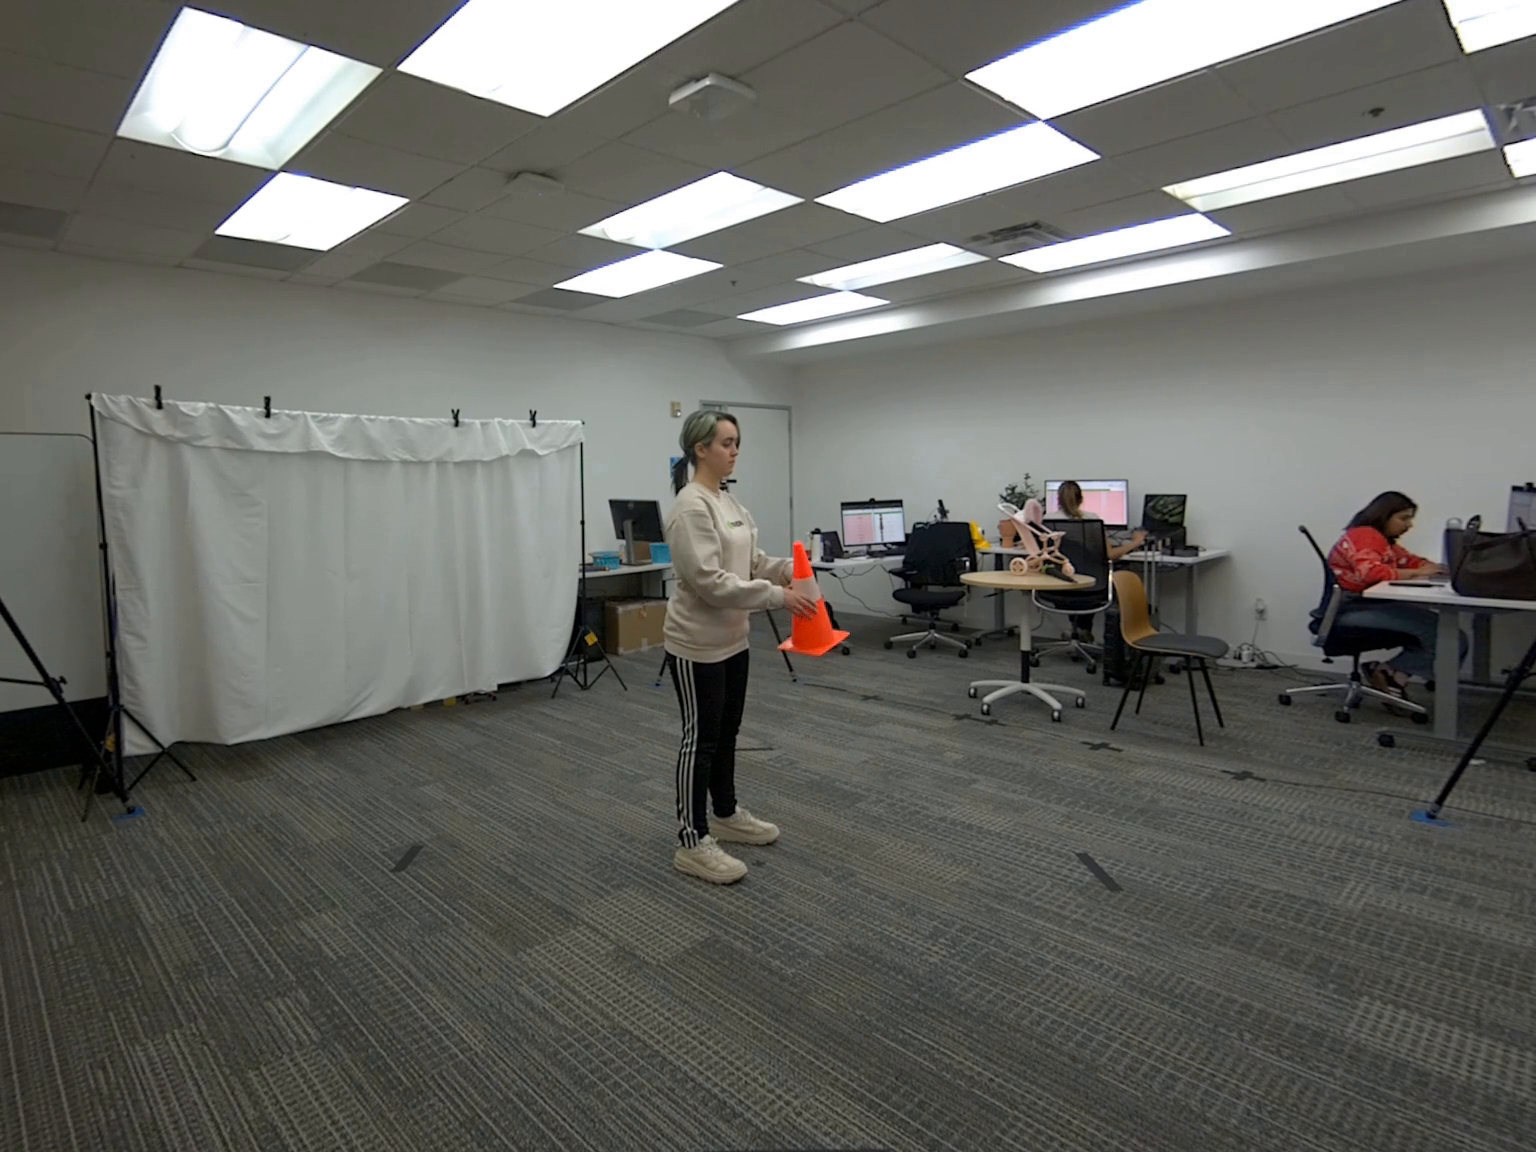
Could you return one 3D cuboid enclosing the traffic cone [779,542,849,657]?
[{"bbox_3d":[0.131,0.053,3.056,0.210,0.377,0.202,6,23,43],"label":"traffic cone"}]
